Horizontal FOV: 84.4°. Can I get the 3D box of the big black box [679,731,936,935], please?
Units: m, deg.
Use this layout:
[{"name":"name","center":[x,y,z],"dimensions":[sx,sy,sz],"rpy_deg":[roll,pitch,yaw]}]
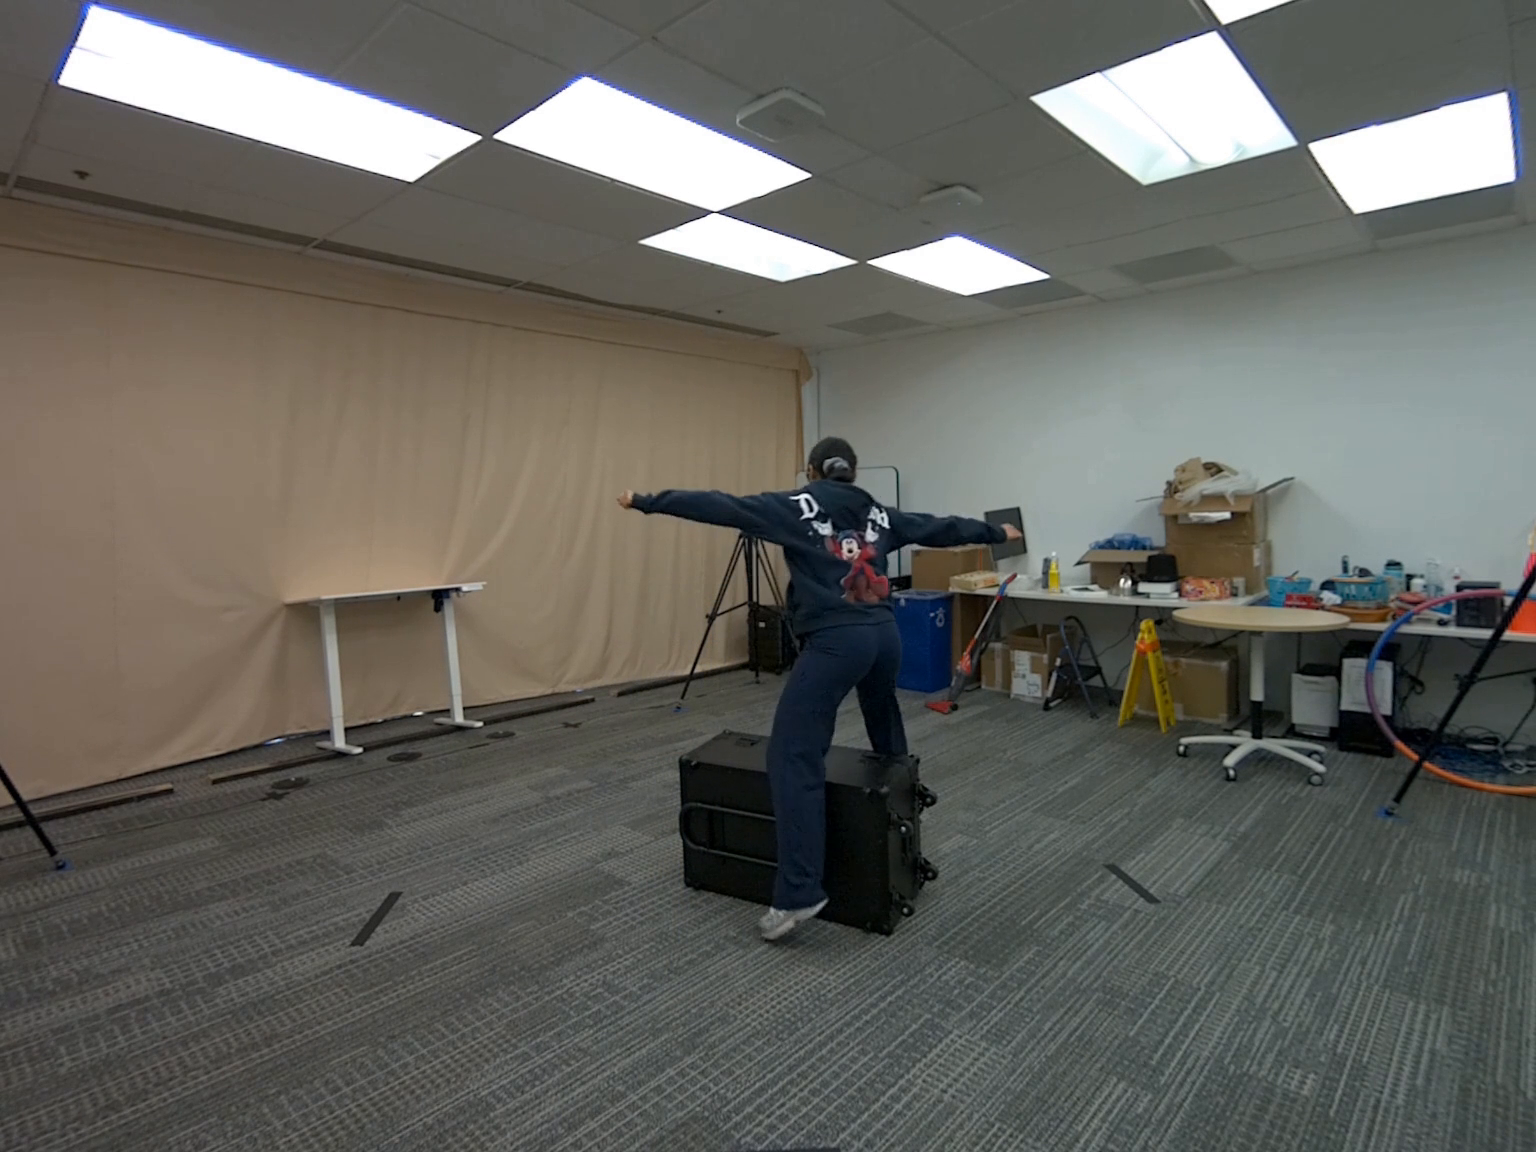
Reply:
[{"name":"big black box","center":[0.131,0.884,2.997],"dimensions":[0.885,0.519,0.387],"rpy_deg":[2,7,29]}]
